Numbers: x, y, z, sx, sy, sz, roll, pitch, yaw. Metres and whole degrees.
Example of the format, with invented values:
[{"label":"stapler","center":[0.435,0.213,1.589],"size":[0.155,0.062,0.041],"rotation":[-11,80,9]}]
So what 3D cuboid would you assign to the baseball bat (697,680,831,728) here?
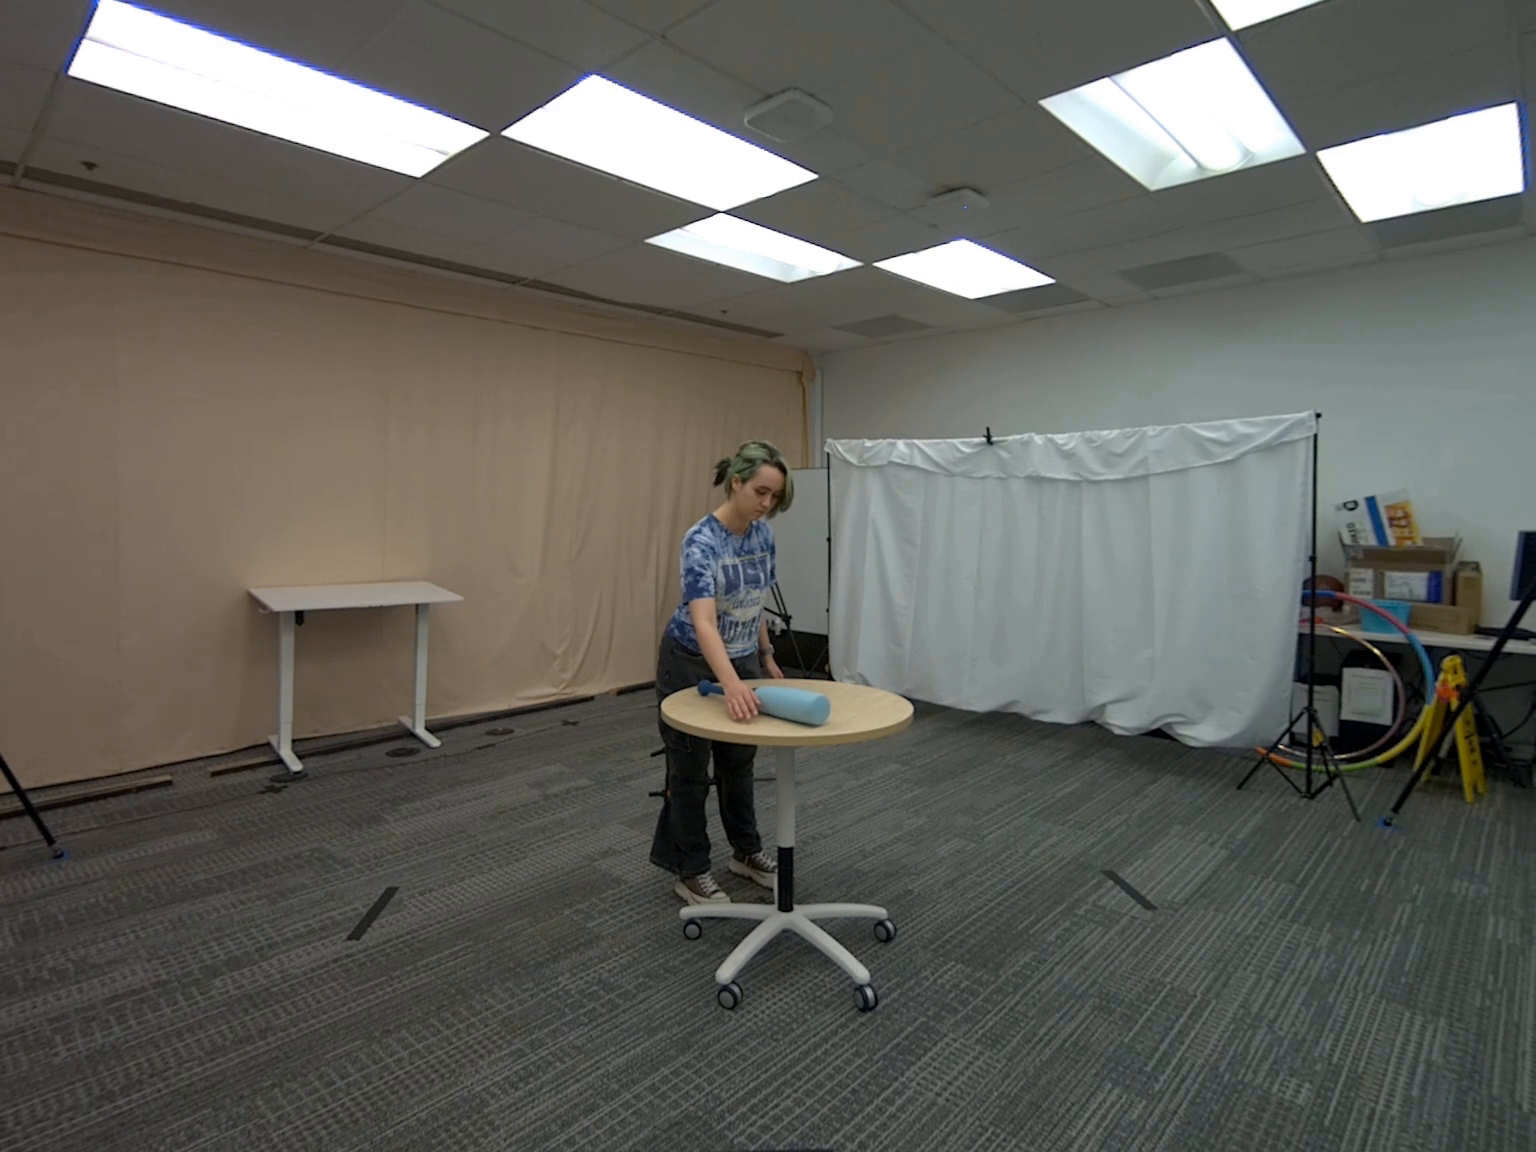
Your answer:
[{"label":"baseball bat","center":[-0.034,0.369,2.490],"size":[0.086,0.089,0.560],"rotation":[-3,2,-42]}]
